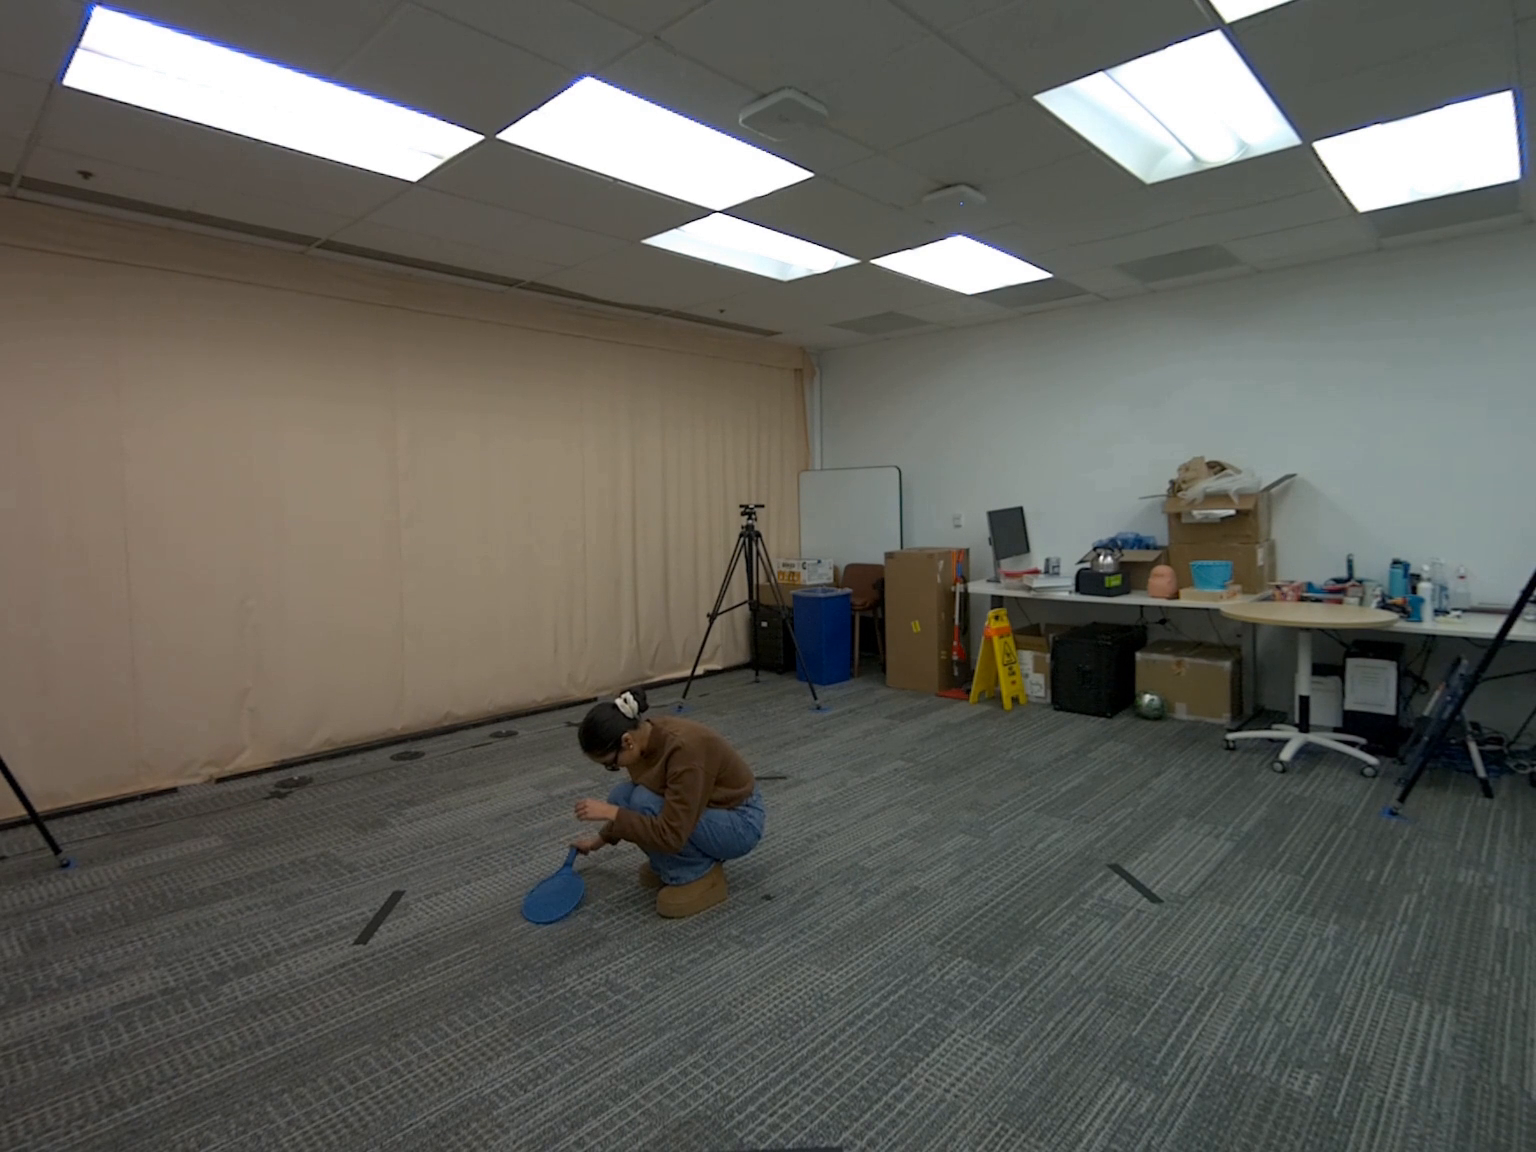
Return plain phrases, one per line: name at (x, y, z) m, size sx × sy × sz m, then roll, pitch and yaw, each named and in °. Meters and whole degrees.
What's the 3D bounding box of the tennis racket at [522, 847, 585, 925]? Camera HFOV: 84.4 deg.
tennis racket at (-0.736, 1.101, 3.031) m, size 0.216 × 0.031 × 0.432 m, roll -6°, pitch 12°, yaw 9°
